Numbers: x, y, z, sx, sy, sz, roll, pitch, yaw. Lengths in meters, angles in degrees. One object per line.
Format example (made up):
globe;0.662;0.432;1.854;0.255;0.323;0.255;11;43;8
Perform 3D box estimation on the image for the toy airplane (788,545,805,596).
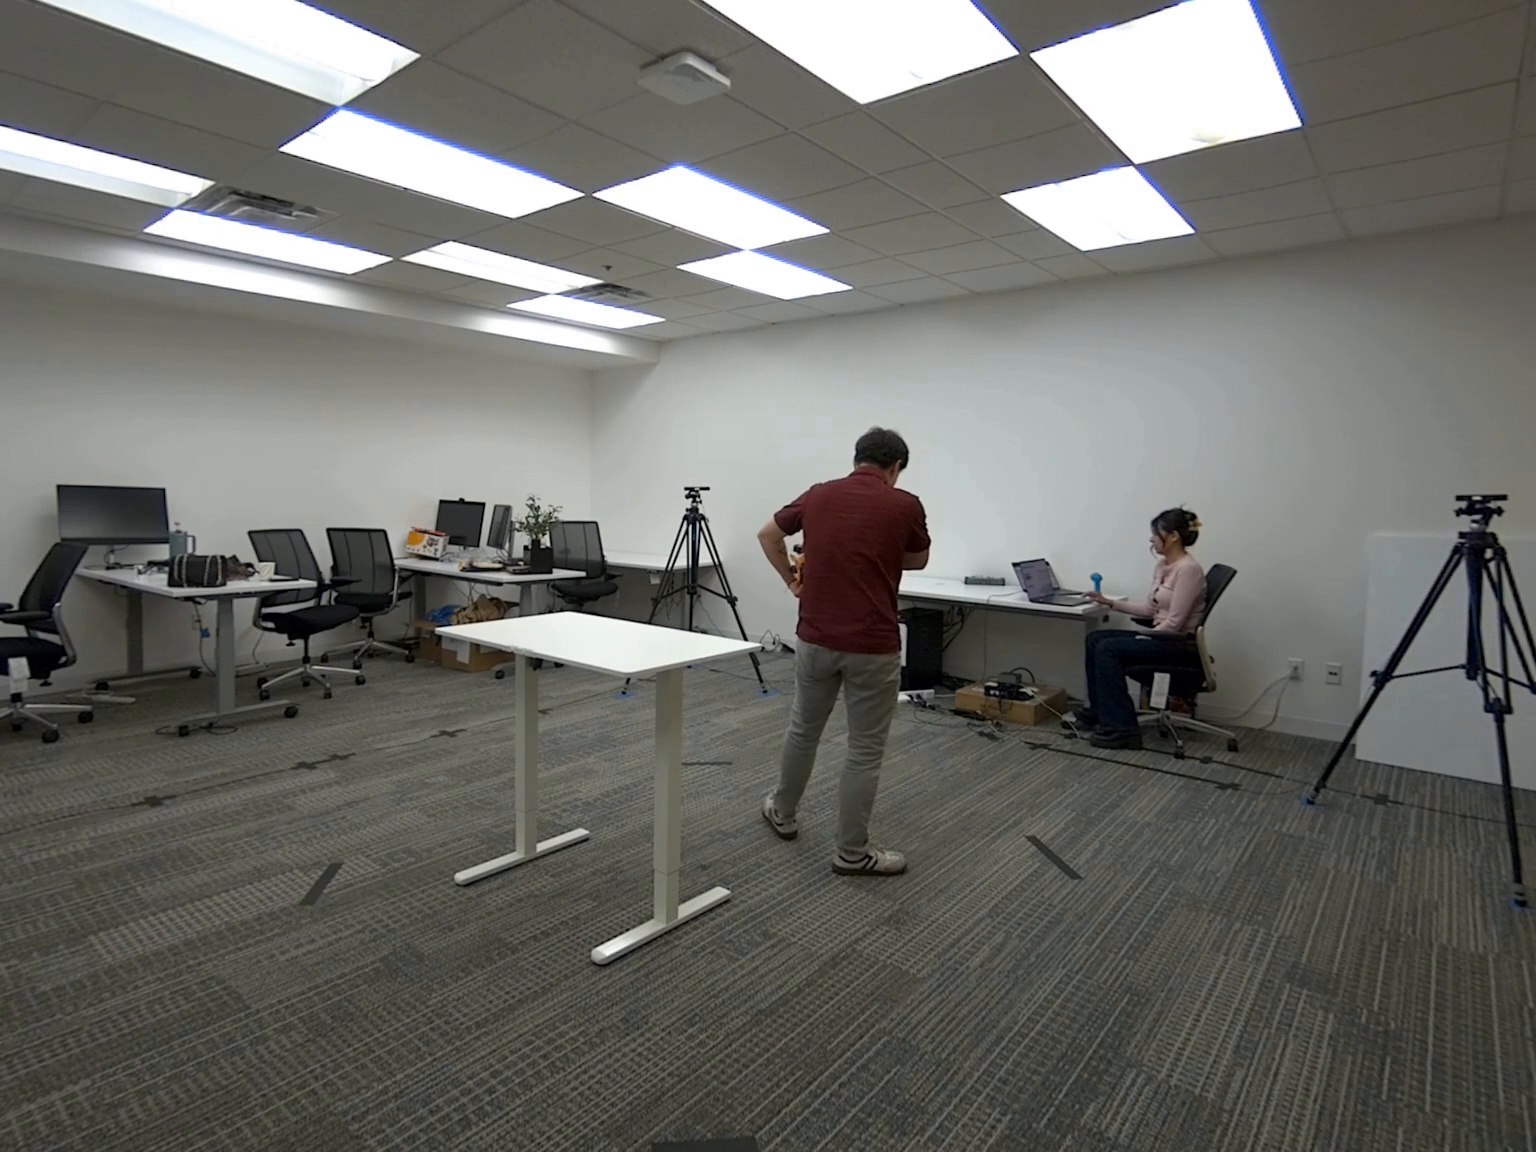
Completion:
toy airplane;0.203;-0.070;3.374;0.257;0.245;0.161;-24;21;-13
